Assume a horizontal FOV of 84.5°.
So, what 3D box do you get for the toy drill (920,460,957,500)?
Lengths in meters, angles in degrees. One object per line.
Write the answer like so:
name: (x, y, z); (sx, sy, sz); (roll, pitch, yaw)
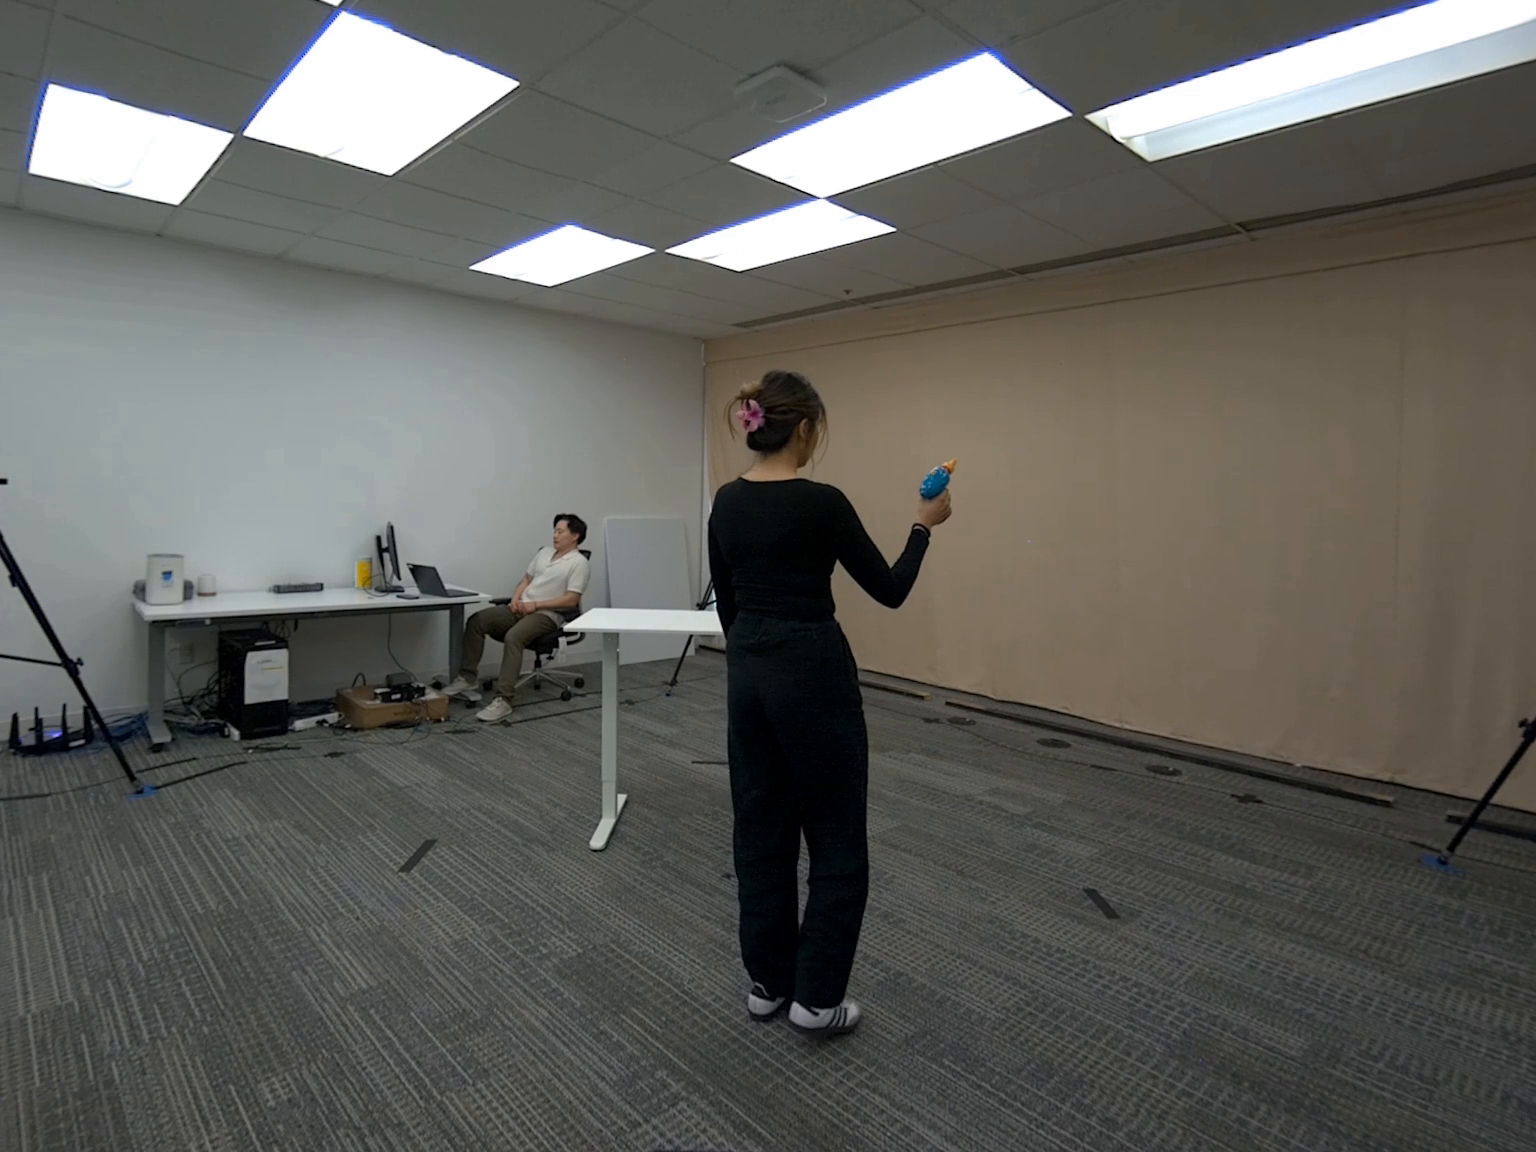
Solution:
toy drill: (0.478, -0.241, 2.340); (0.063, 0.142, 0.170); (13, 51, 39)
